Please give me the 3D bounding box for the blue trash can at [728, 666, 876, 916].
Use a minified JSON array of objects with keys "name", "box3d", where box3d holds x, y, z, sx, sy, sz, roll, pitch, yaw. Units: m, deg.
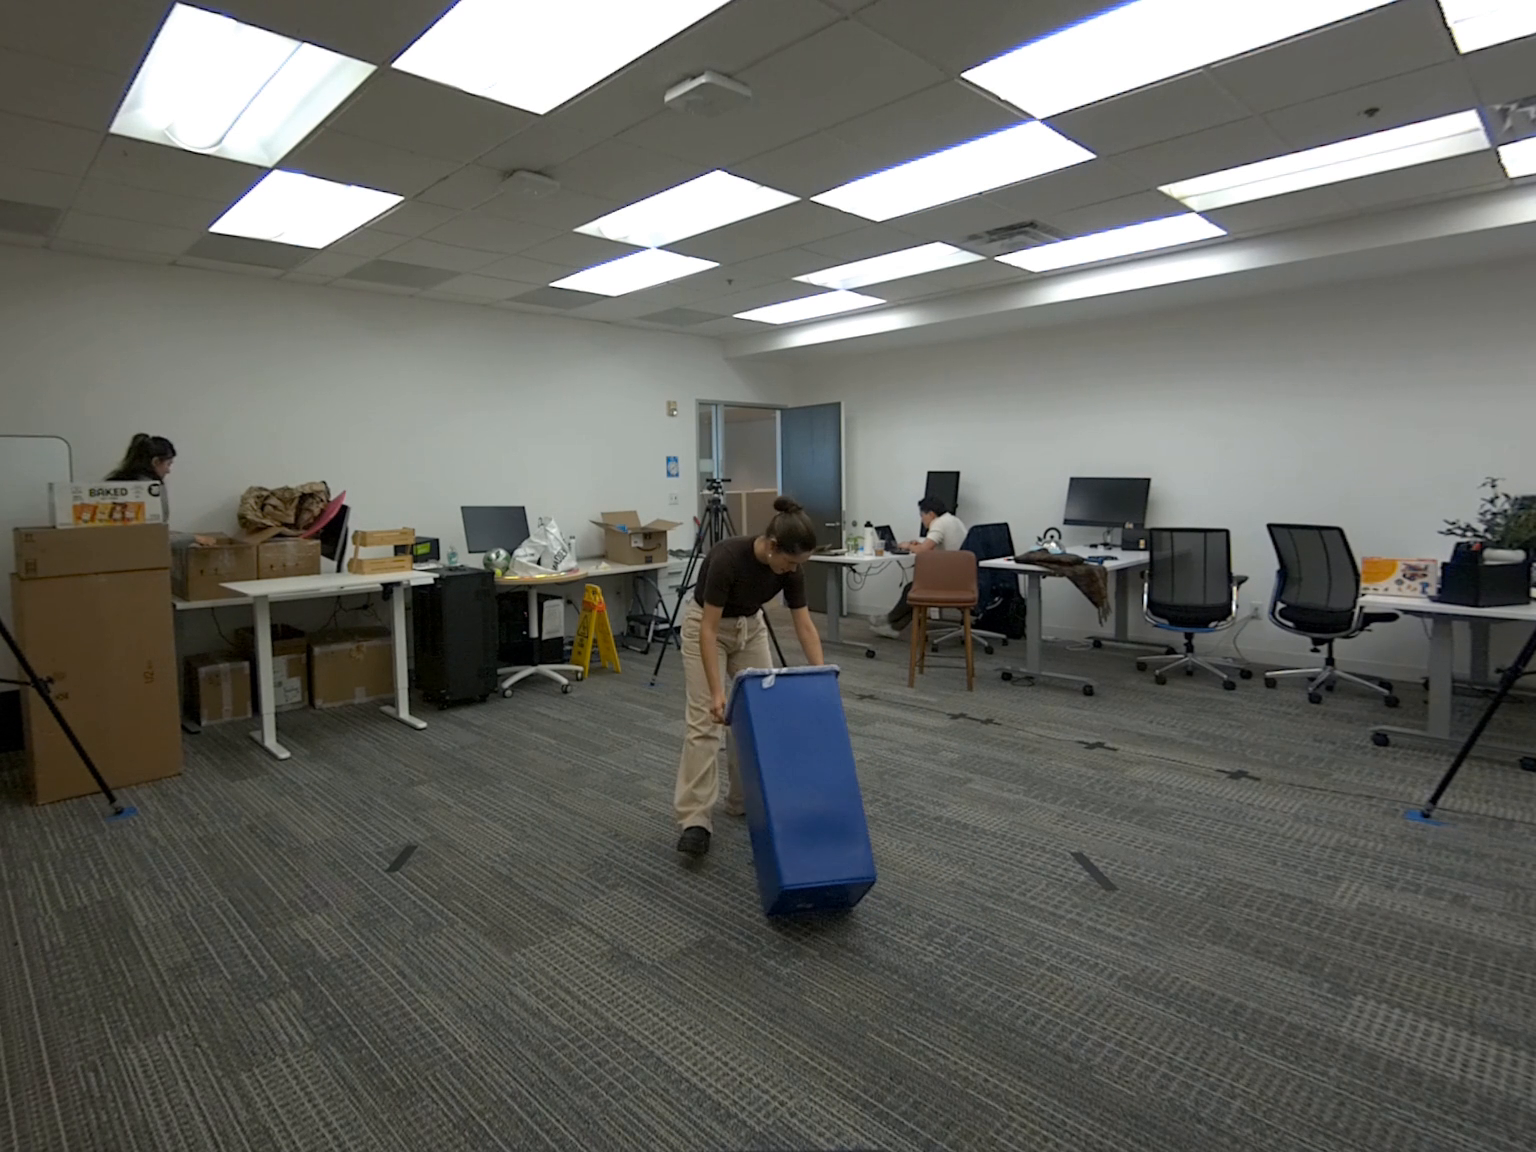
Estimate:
[{"name":"blue trash can","box3d":[0.101,0.710,2.851,0.374,0.735,0.367,-1,-37,-12]}]
